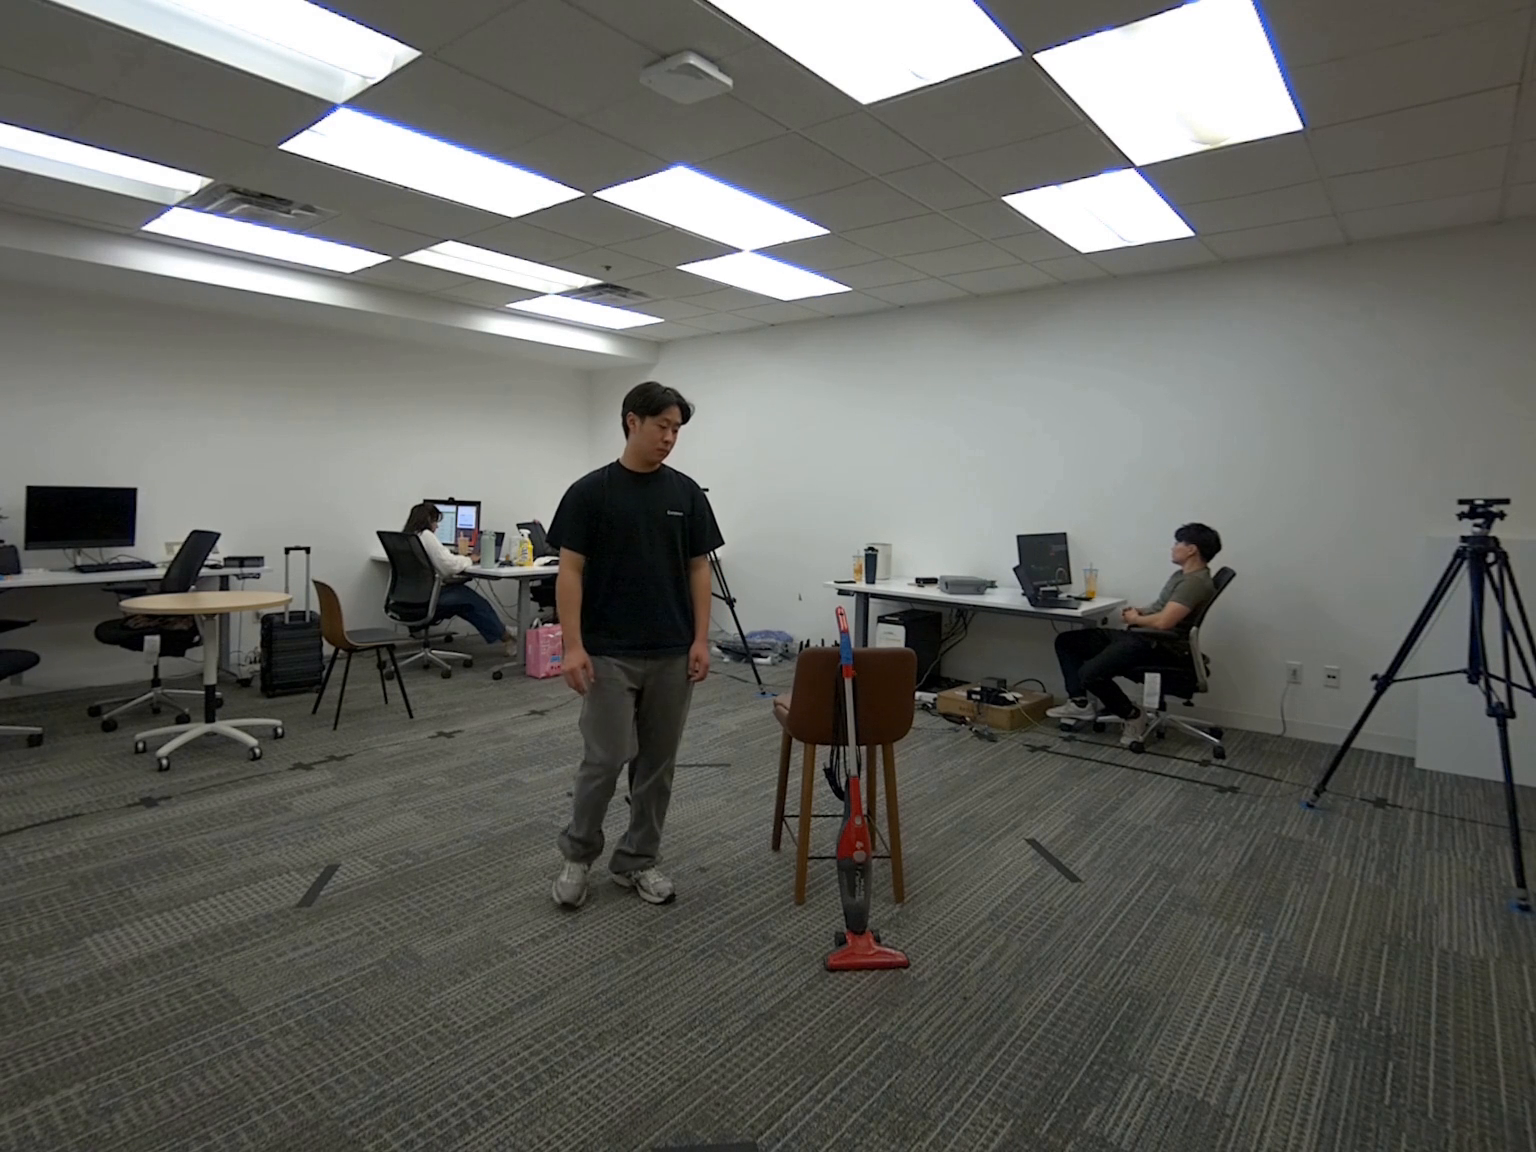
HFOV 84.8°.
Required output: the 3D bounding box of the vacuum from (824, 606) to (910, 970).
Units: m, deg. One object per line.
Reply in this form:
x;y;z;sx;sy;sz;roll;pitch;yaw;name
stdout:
0.254;0.620;2.672;0.248;1.064;0.144;1;-14;-16;vacuum
